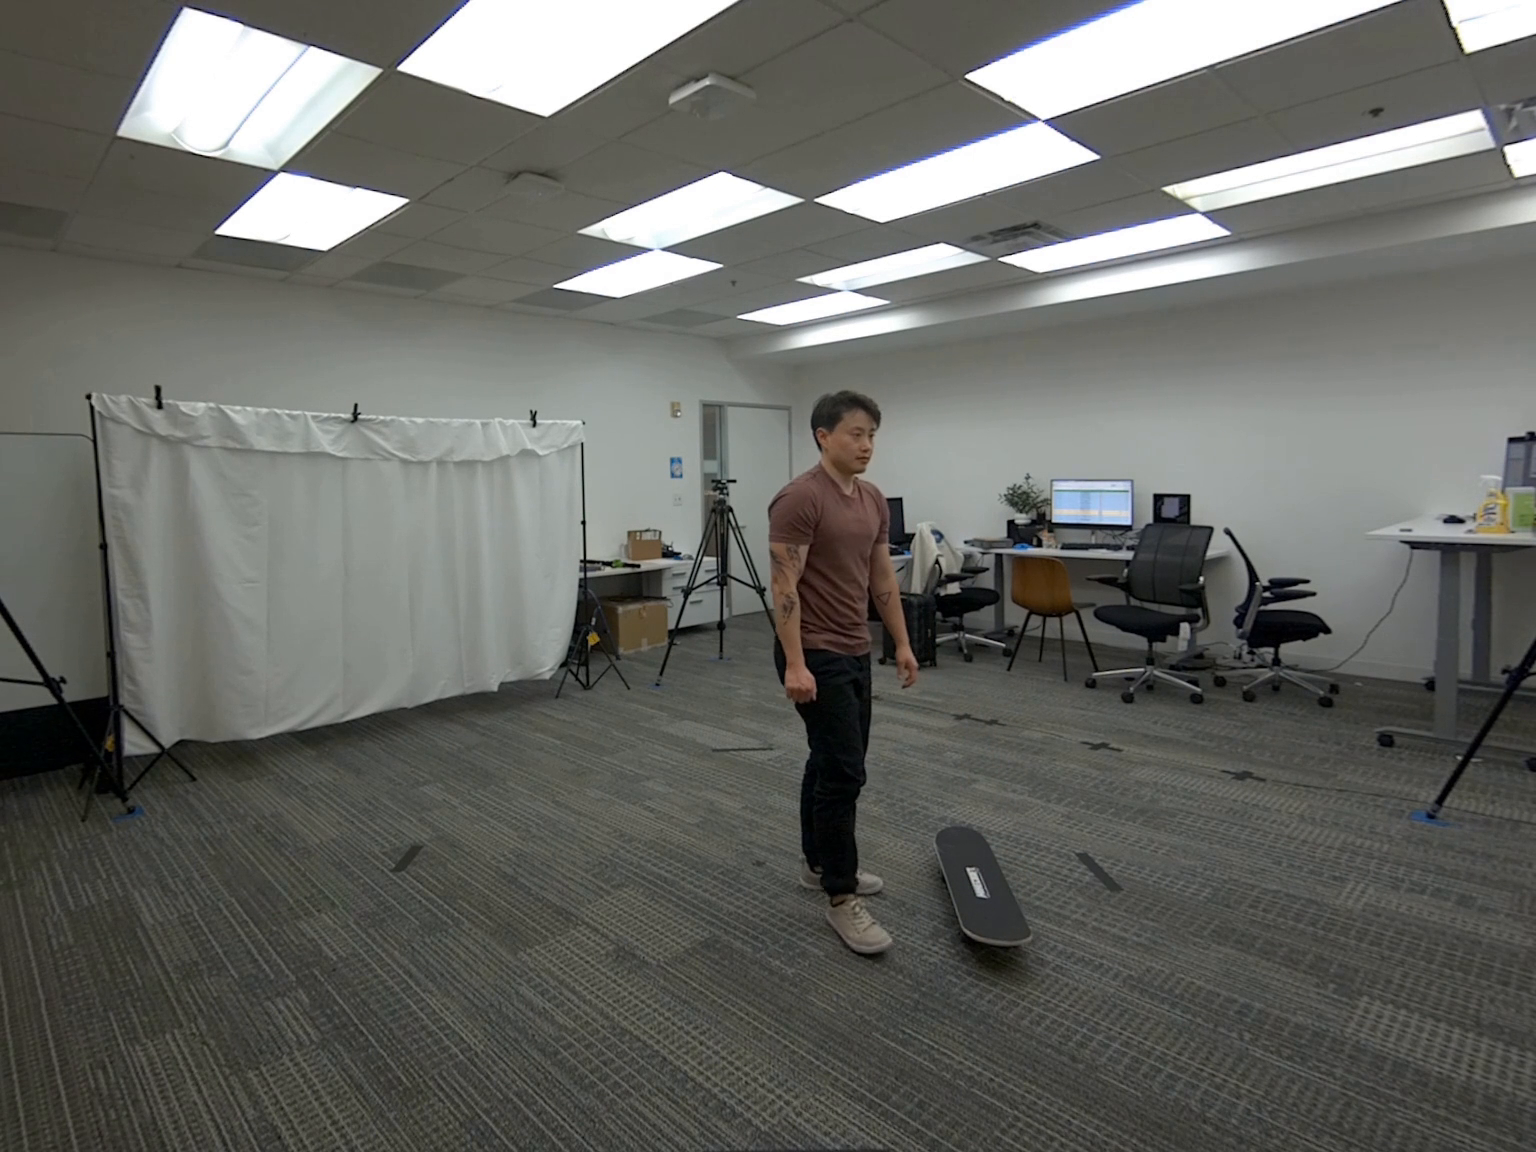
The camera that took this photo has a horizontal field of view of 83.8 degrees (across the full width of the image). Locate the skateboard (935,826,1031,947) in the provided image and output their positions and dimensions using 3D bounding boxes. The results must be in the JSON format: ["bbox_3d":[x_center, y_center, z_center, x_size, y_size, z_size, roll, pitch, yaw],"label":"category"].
[{"bbox_3d":[0.669,1.015,2.754,0.194,0.110,0.786,-2,7,3],"label":"skateboard"}]
